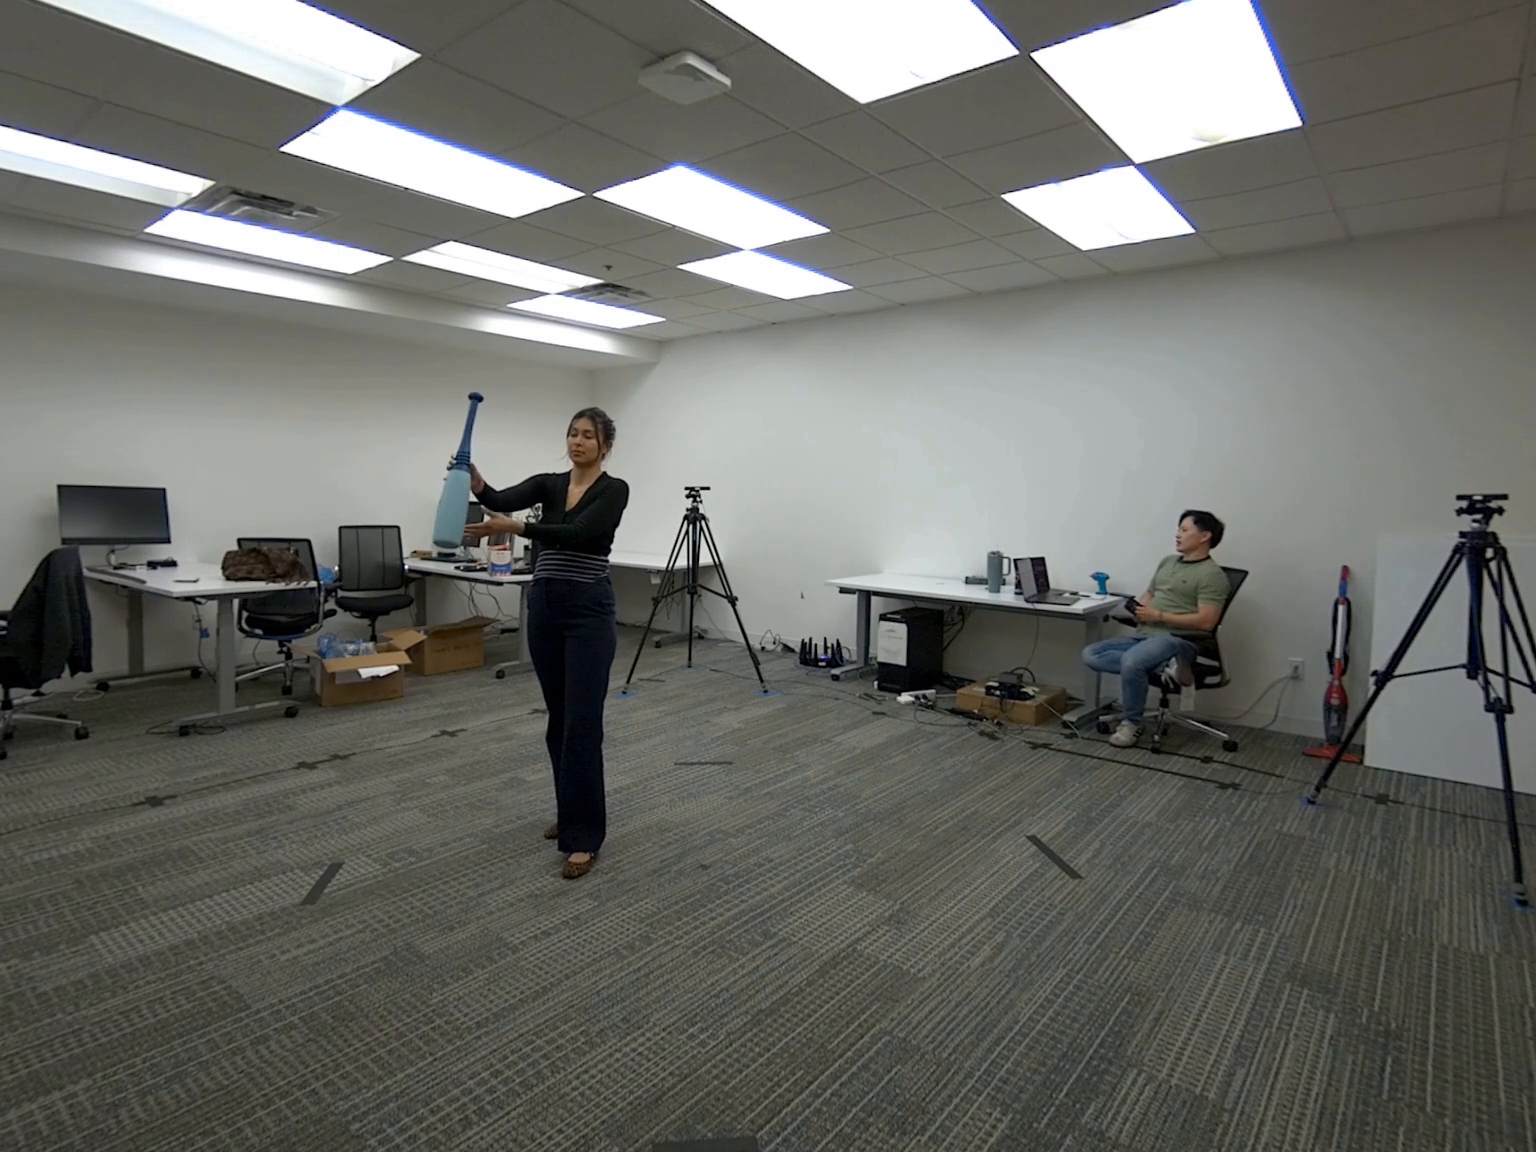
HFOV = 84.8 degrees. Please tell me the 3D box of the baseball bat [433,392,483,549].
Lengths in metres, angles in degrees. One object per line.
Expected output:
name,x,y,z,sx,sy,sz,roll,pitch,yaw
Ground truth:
baseball bat,-1.016,-0.360,2.775,0.089,0.550,0.088,6,-16,0
